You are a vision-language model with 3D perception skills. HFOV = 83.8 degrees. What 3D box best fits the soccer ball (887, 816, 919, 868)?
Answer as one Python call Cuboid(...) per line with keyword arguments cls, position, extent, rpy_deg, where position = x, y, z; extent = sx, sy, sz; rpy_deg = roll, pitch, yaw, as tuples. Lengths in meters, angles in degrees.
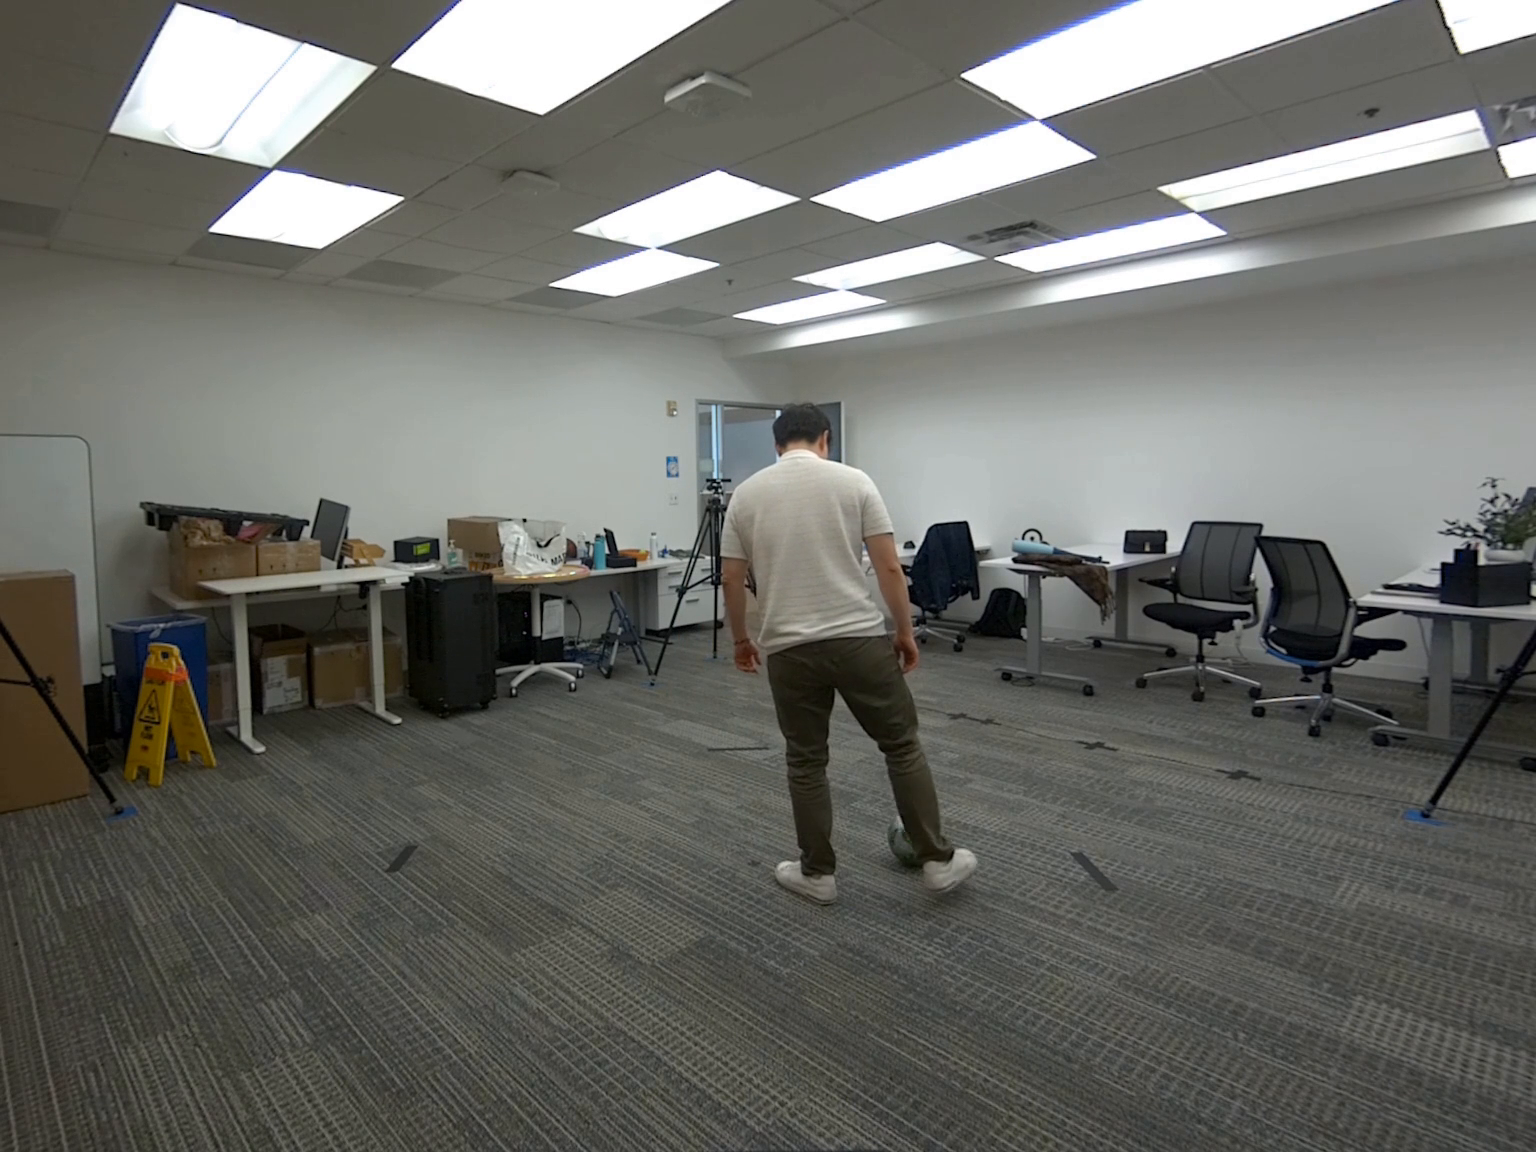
Cuboid(cls="soccer ball", position=(0.525, 0.943, 3.085), extent=(0.187, 0.187, 0.188), rpy_deg=(-1, 5, -2))
